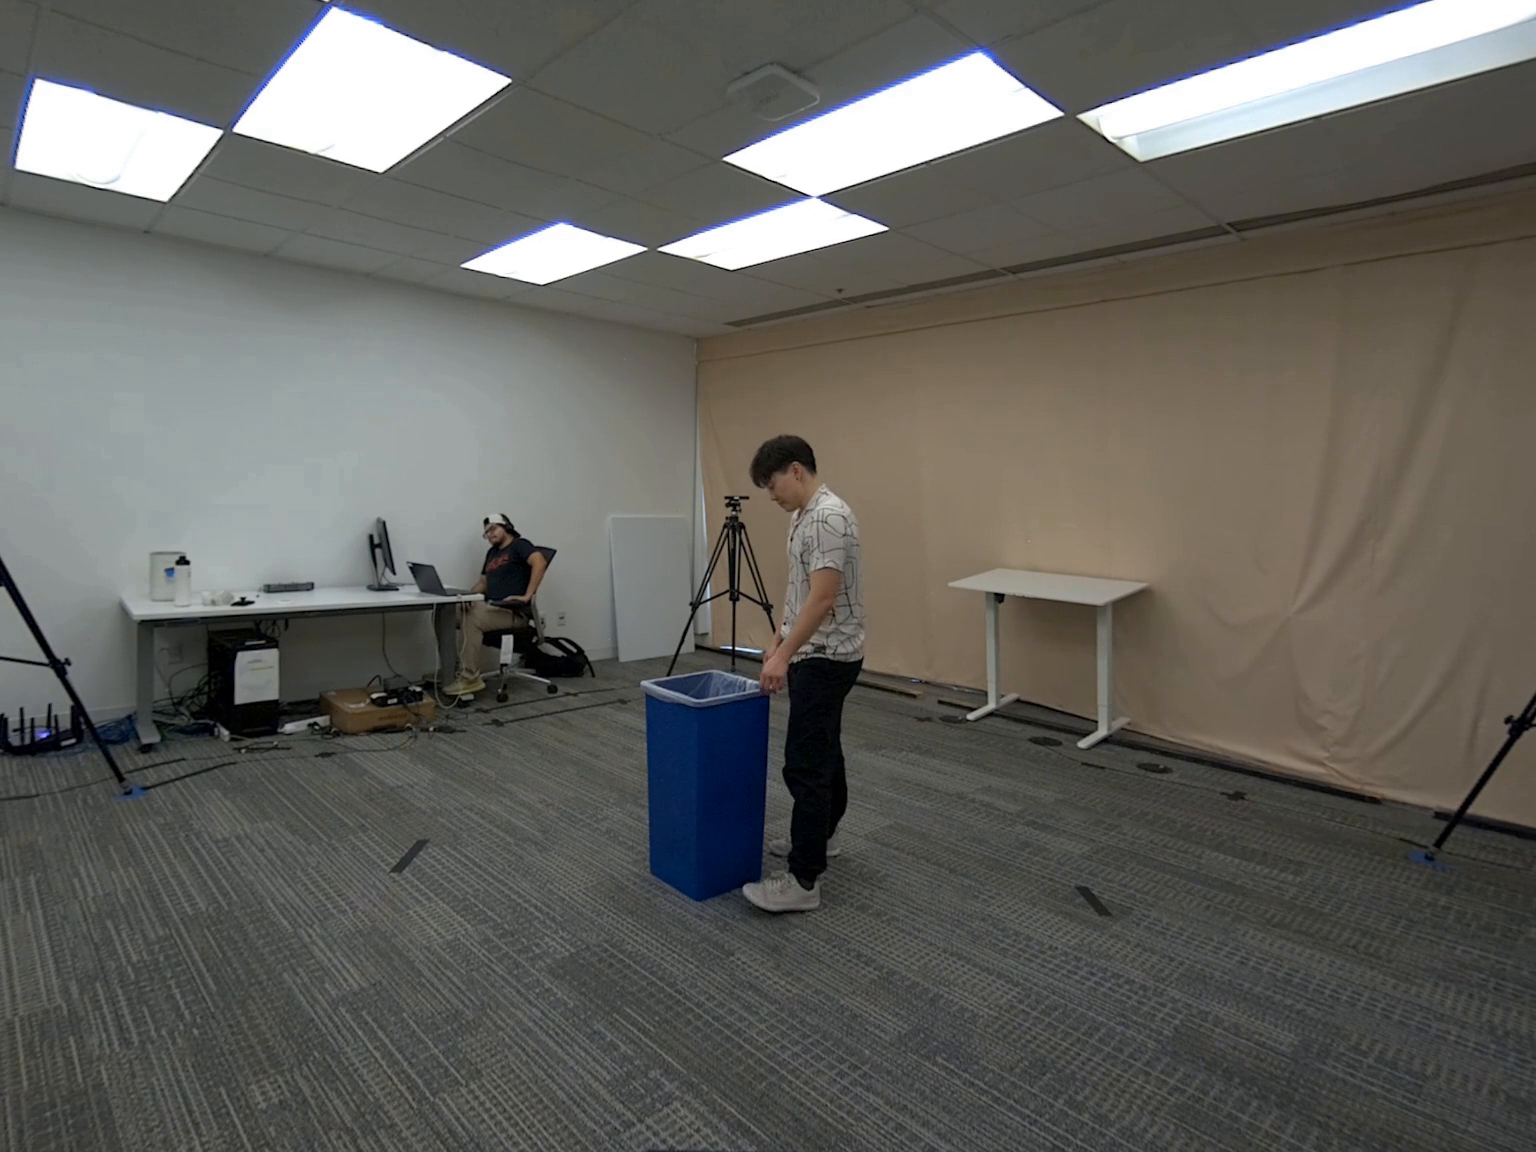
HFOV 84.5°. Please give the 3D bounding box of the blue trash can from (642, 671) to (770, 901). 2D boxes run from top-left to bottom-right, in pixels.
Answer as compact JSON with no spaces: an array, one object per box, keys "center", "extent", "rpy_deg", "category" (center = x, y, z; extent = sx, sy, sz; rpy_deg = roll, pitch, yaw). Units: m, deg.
[{"center":[-0.241,0.747,3.078],"extent":[0.369,0.711,0.383],"rpy_deg":[-2,5,-42],"category":"blue trash can"}]
